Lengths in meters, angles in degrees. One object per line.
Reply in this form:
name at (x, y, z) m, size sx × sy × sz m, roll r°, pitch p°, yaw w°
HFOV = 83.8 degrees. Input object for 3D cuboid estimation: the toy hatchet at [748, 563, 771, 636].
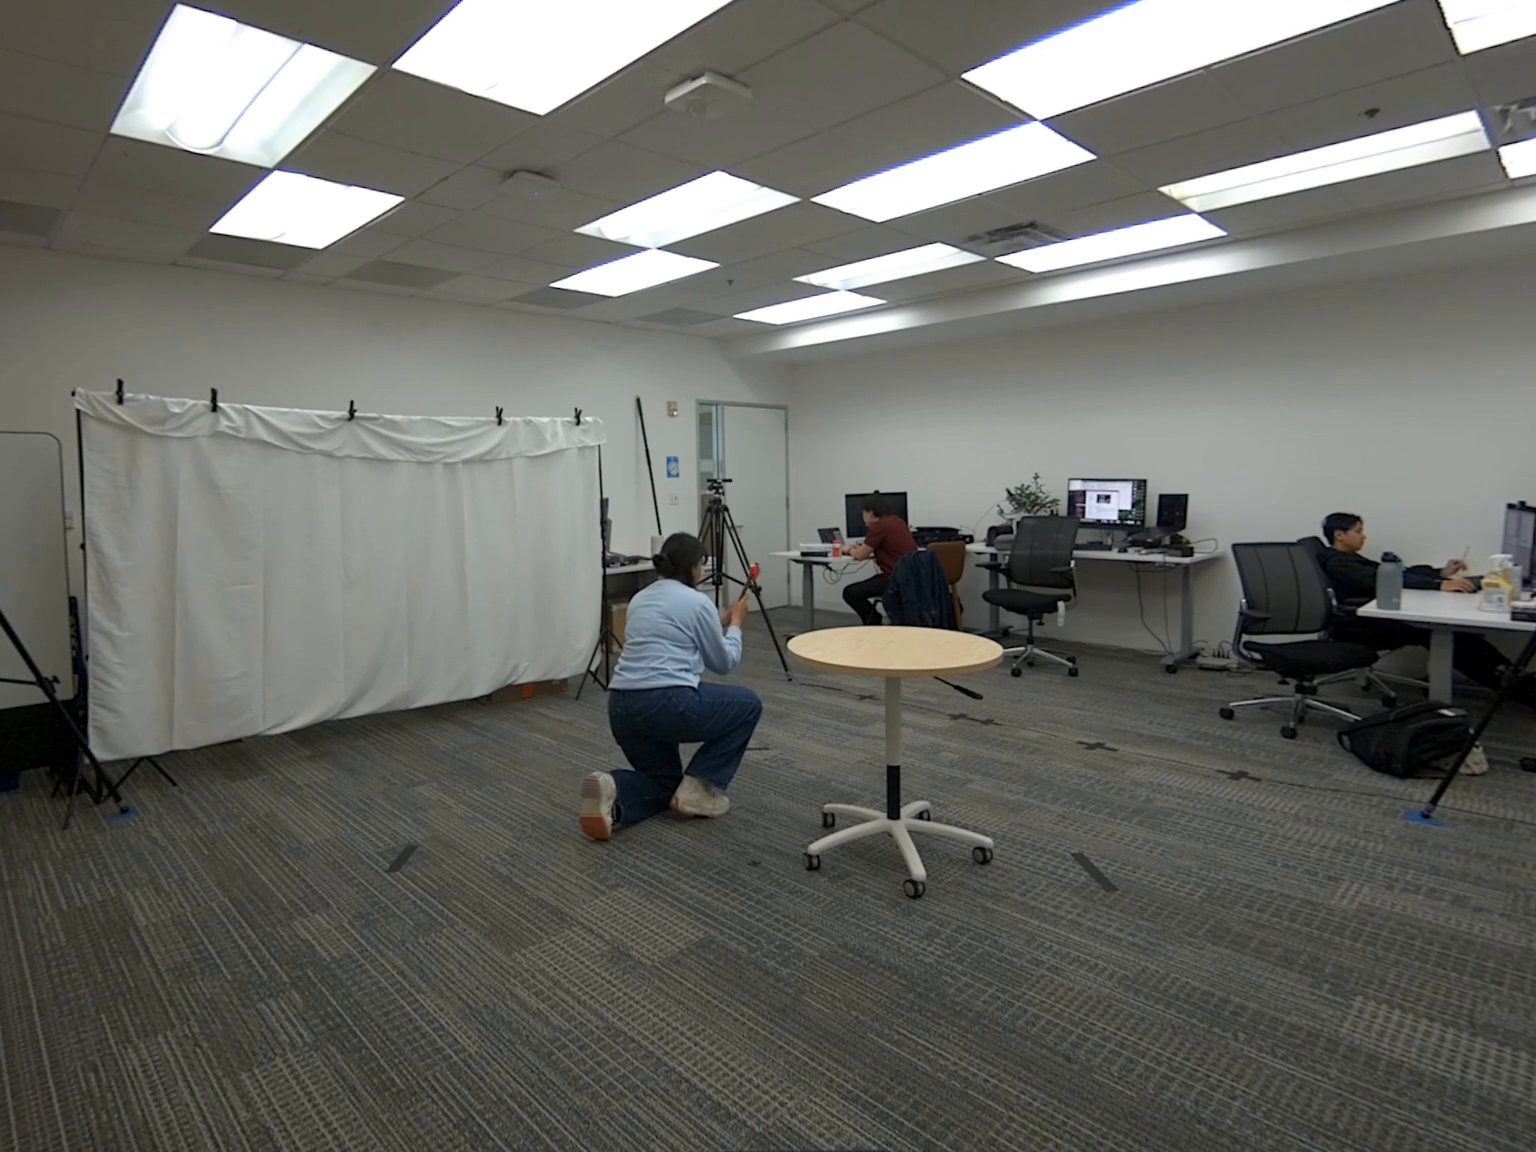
toy hatchet at (-0.100, 0.092, 3.943) m, size 0.030 × 0.268 × 0.129 m, roll 21°, pitch 15°, yaw 15°
